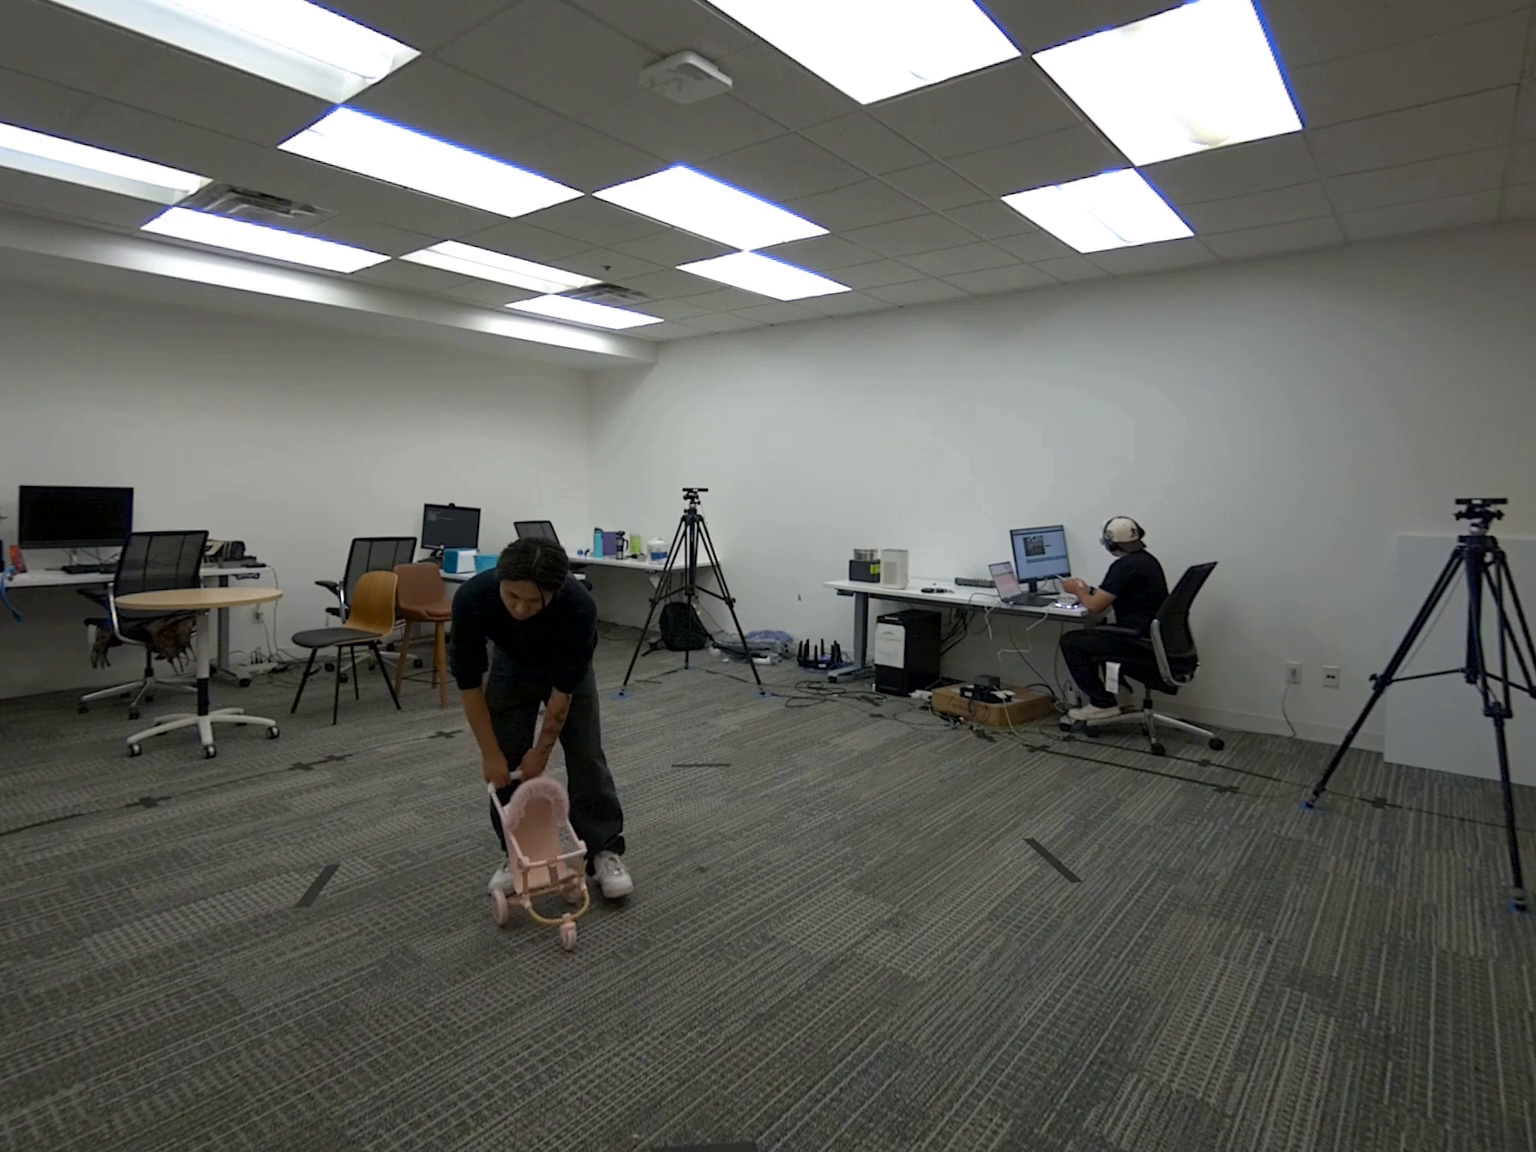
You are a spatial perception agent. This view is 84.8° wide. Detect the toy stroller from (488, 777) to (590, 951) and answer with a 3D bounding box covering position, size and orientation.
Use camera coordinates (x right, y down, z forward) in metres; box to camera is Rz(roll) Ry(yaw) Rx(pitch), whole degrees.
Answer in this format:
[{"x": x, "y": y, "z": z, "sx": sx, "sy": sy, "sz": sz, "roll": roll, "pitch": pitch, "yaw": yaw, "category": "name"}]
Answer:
[{"x": -0.729, "y": 0.877, "z": 2.696, "sx": 0.274, "sy": 0.542, "sz": 0.346, "roll": -3, "pitch": -12, "yaw": -32, "category": "toy stroller"}]
